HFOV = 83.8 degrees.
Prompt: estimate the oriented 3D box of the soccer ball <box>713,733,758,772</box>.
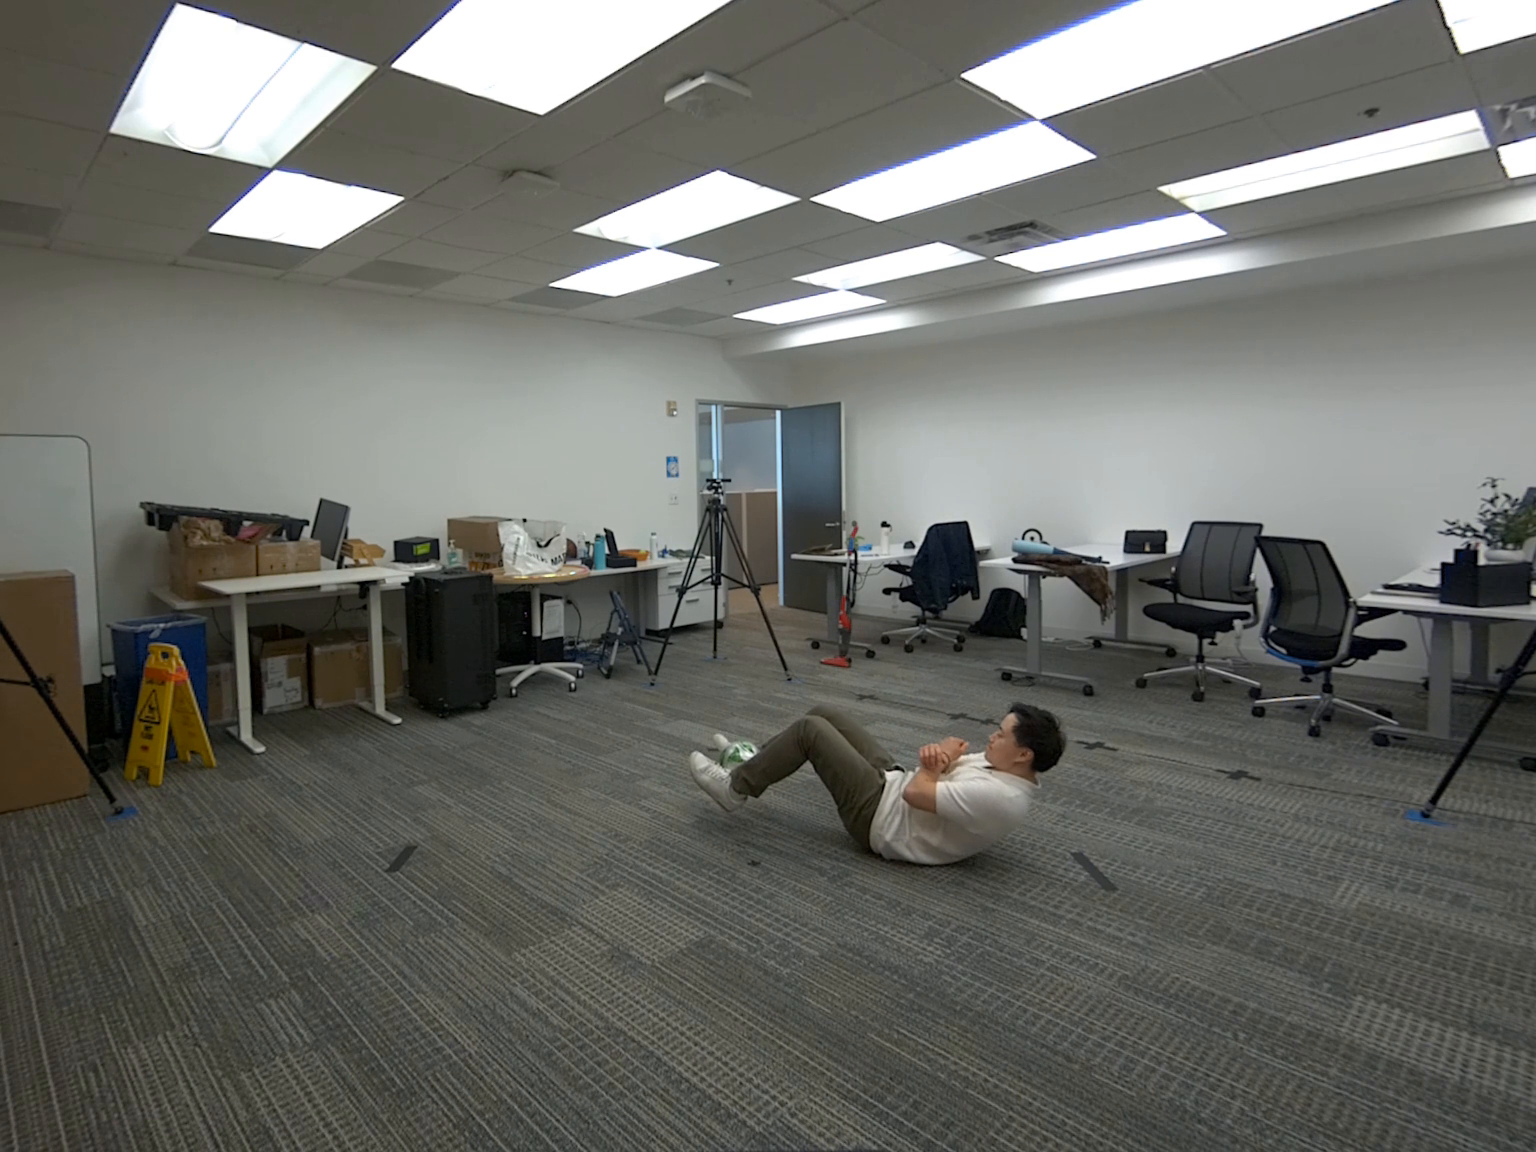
[{"bbox_3d":[-0.096,0.766,3.481,0.187,0.187,0.188,-1,5,-2],"label":"soccer ball"}]
